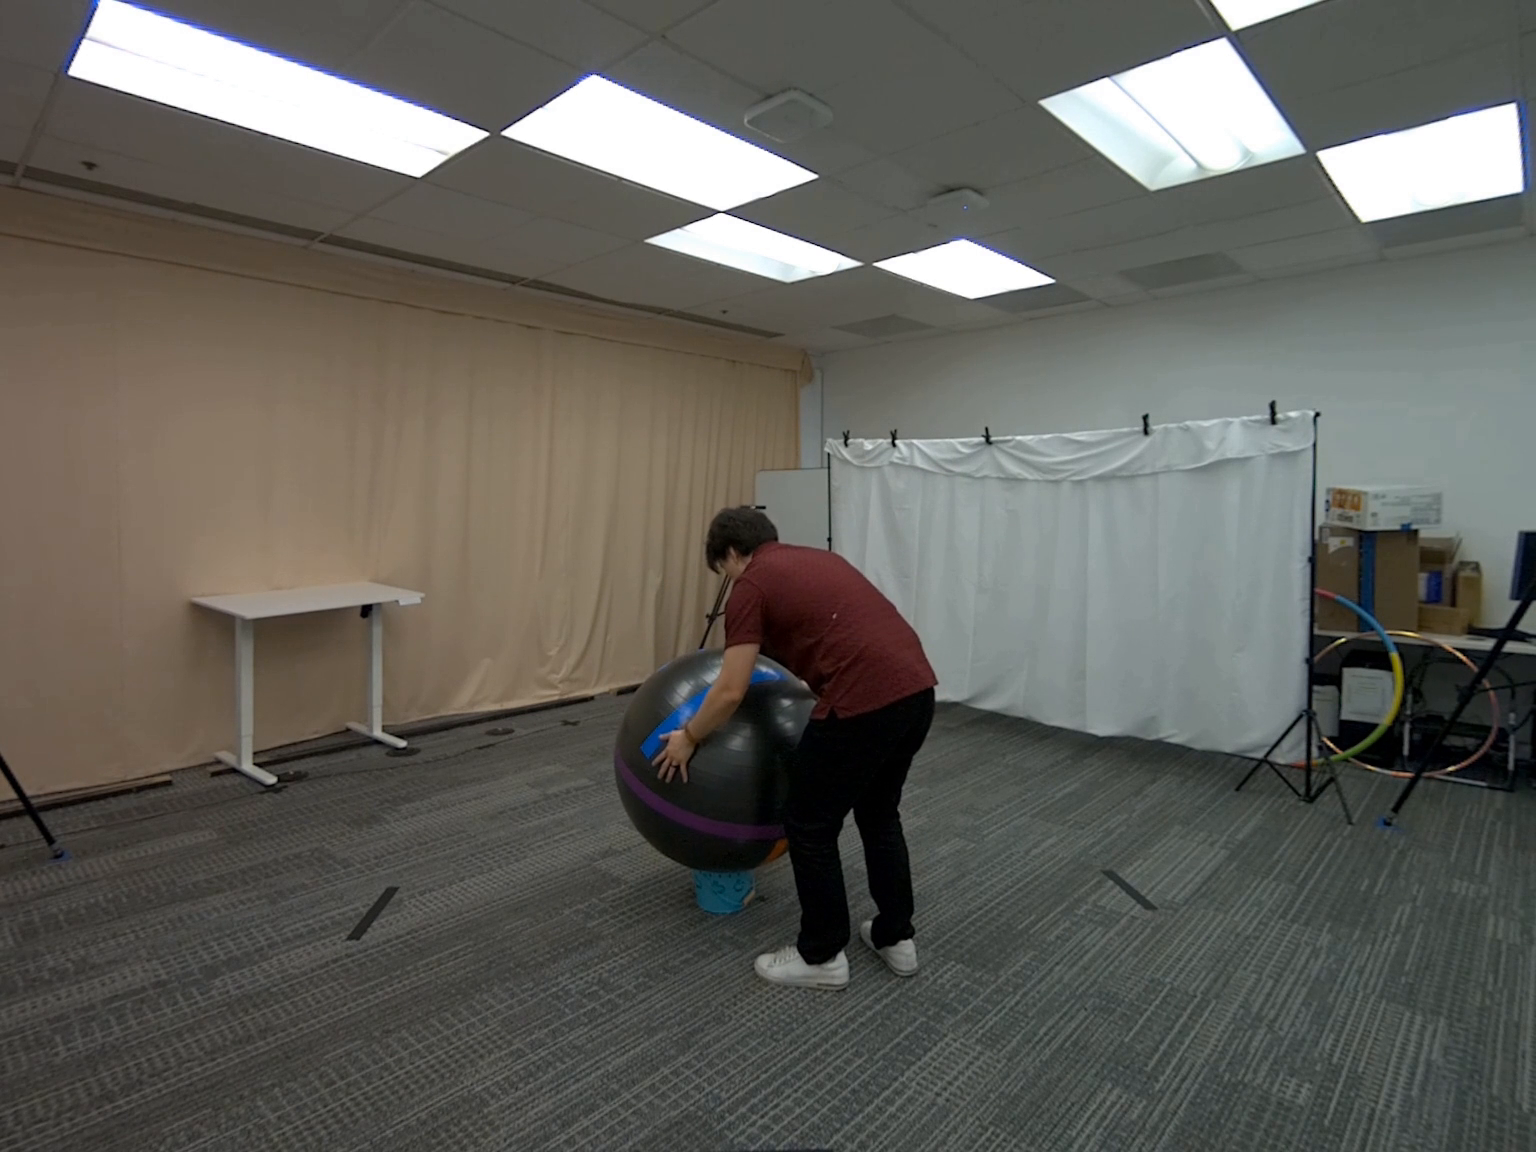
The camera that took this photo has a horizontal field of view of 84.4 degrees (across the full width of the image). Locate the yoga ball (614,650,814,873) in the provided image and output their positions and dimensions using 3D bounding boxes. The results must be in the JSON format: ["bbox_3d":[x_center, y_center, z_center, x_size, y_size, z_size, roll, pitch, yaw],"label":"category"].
[{"bbox_3d":[-0.151,0.637,2.948,0.757,0.756,0.760,0,4,-2],"label":"yoga ball"}]
